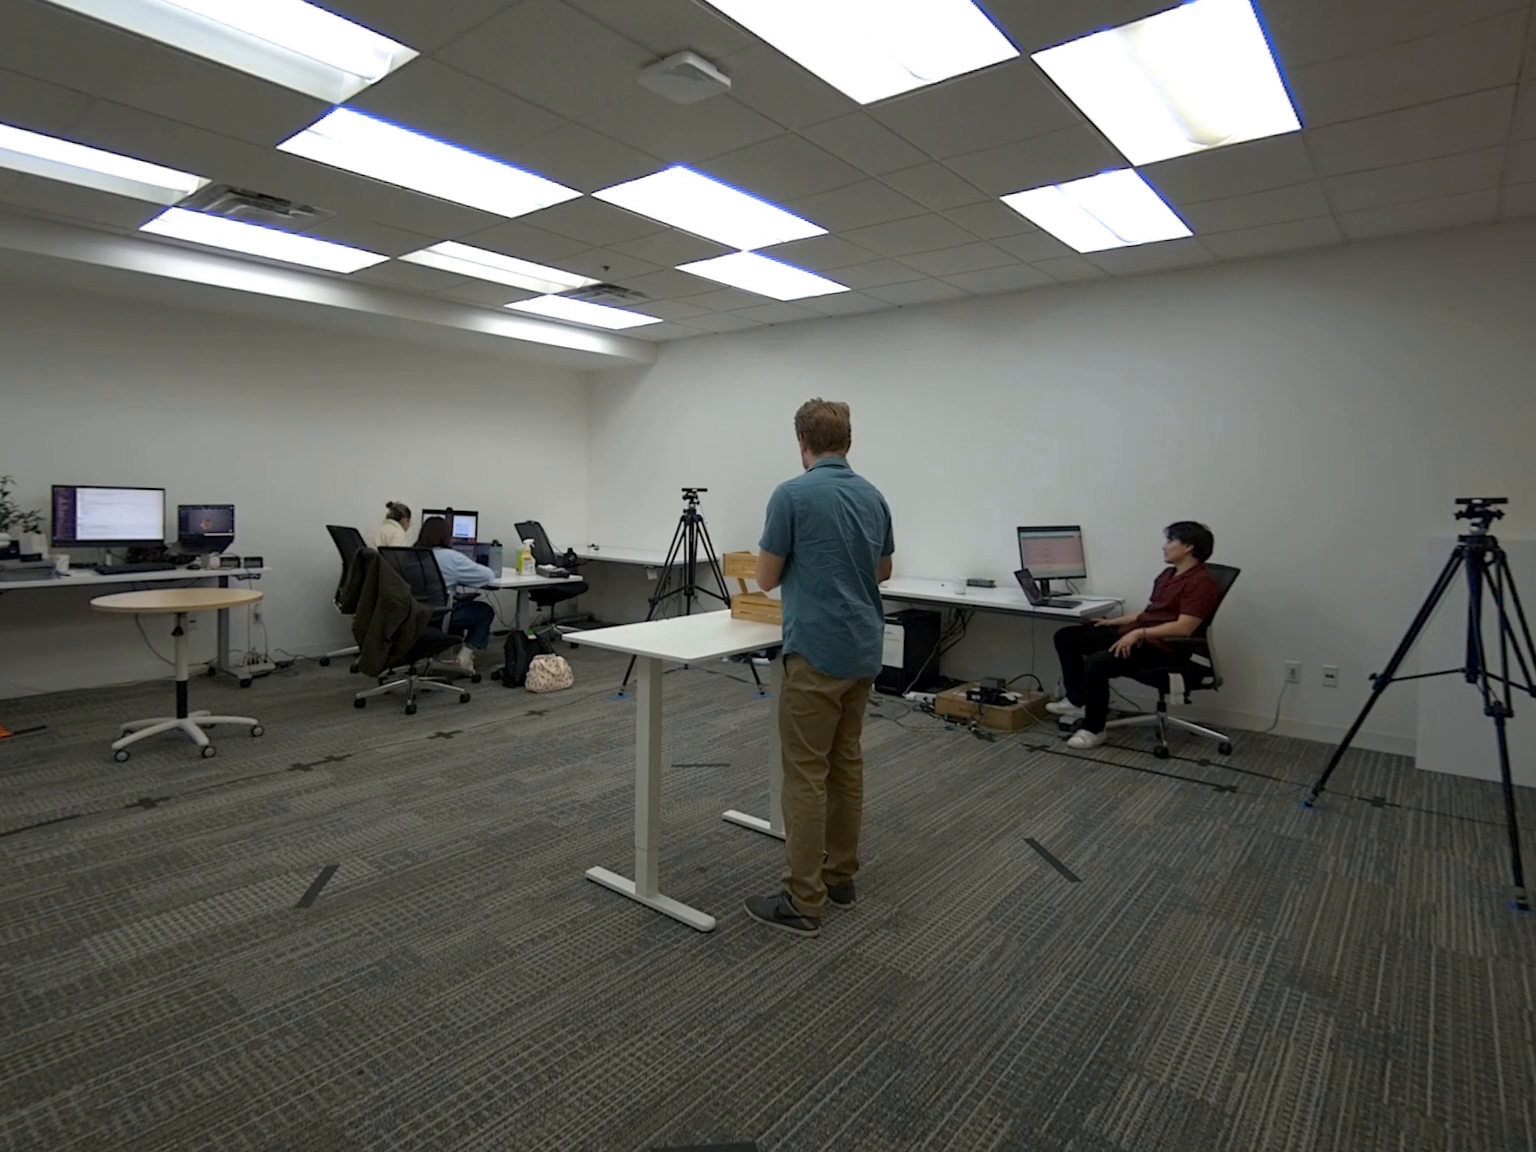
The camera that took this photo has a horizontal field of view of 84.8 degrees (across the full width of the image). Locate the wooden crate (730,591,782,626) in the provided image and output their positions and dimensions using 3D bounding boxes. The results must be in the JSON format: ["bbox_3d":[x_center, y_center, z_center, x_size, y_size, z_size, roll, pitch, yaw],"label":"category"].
[{"bbox_3d":[0.024,0.034,3.333,0.335,0.272,0.293,5,7,39],"label":"wooden crate"}]
